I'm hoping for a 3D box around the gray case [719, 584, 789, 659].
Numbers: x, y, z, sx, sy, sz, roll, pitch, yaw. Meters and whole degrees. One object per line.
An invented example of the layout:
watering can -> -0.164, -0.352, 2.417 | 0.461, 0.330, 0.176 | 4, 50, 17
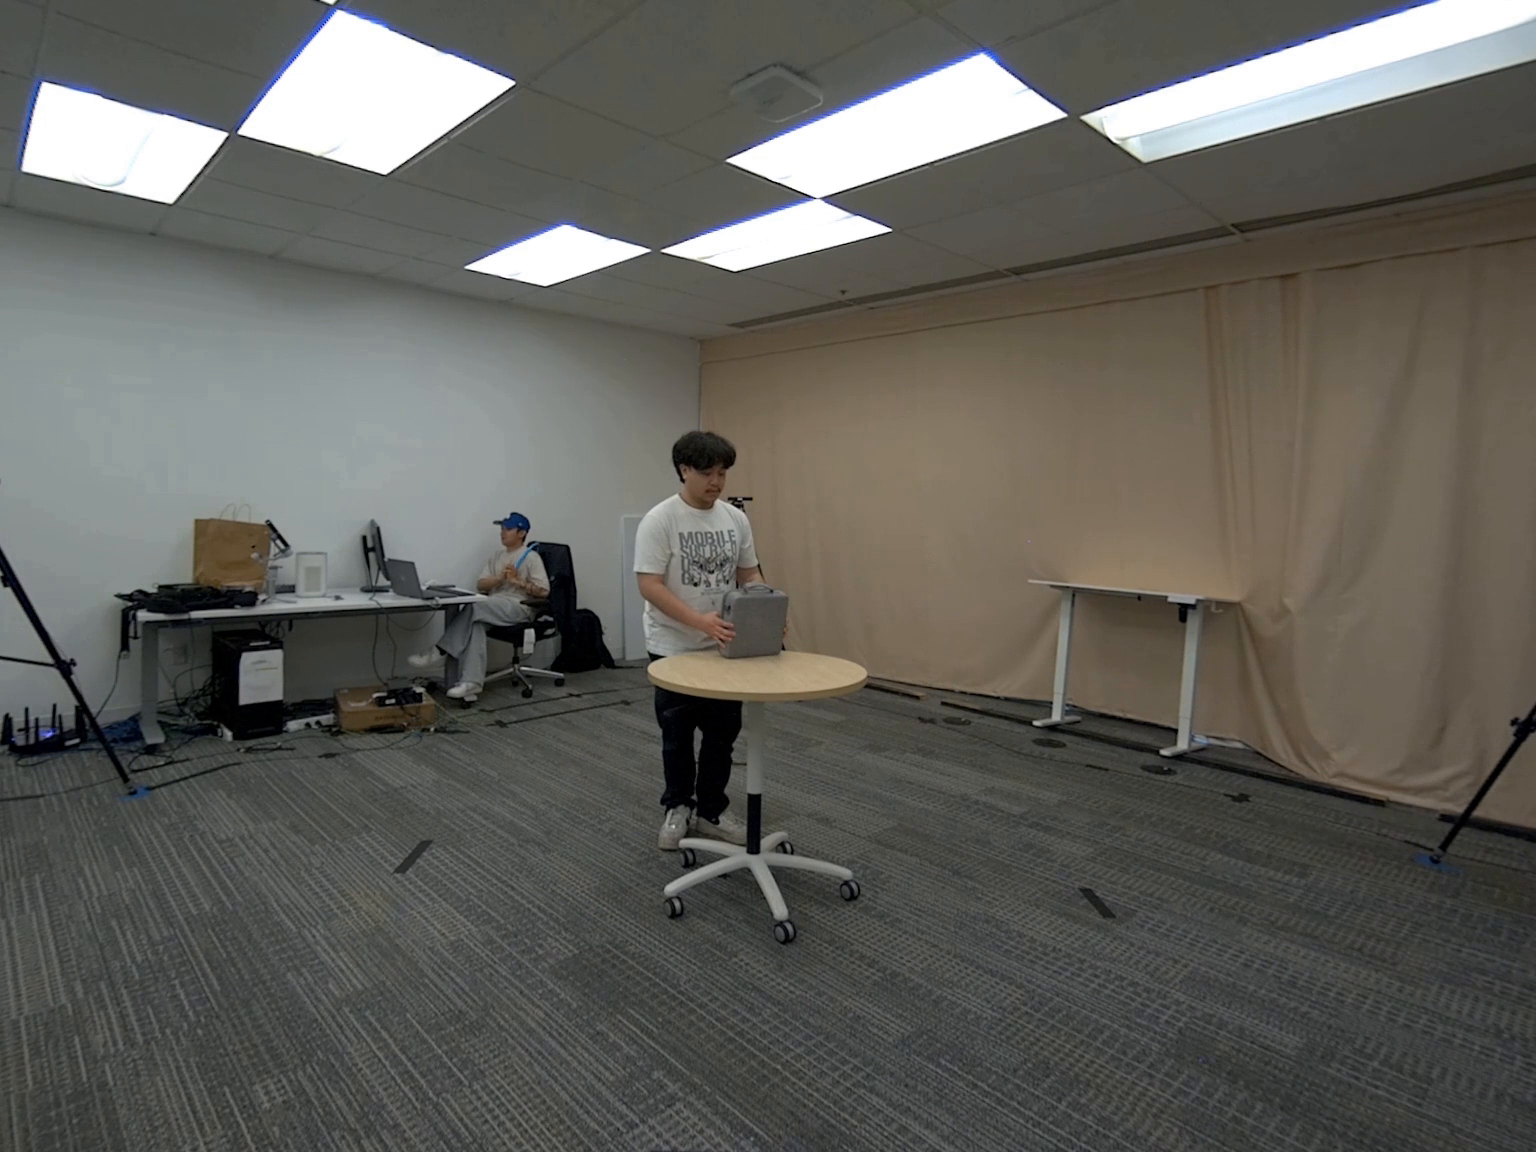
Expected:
gray case -> -0.065, 0.172, 3.178 | 0.252, 0.258, 0.107 | -1, 15, -28
